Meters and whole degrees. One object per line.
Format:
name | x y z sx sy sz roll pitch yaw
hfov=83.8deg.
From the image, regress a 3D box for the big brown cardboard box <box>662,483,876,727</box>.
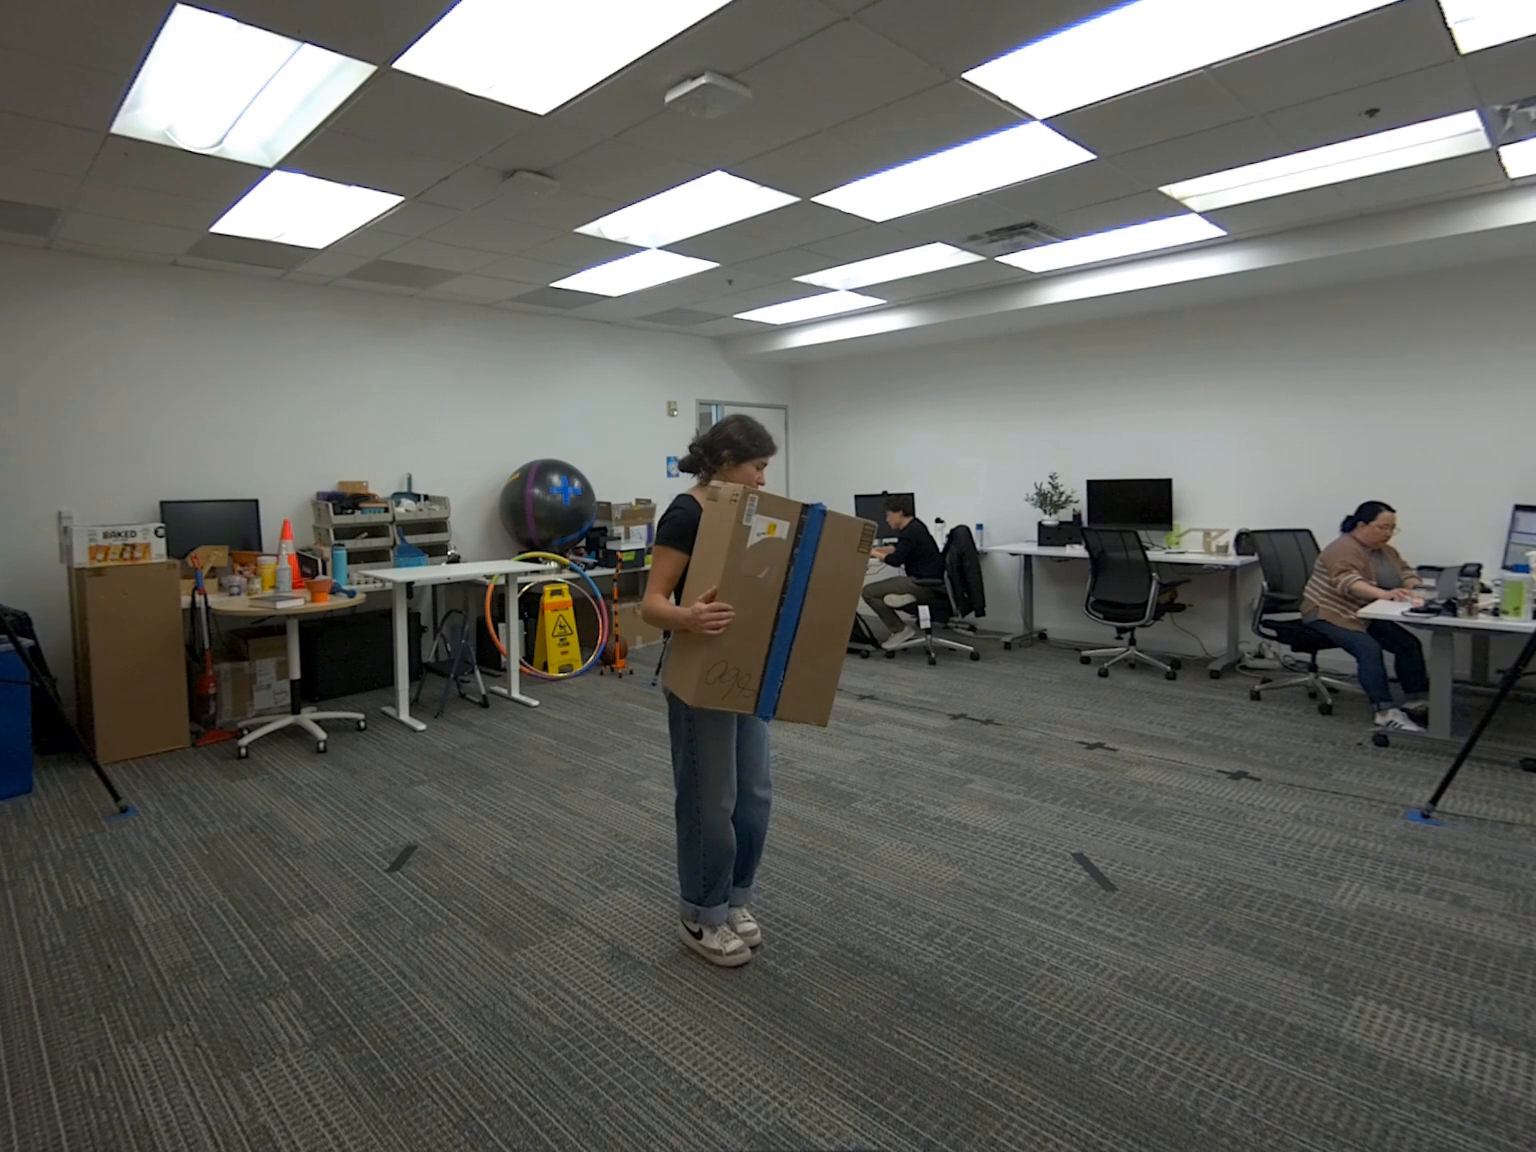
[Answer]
big brown cardboard box | 0.009 0.072 2.284 0.406 0.588 0.240 12 3 -26
